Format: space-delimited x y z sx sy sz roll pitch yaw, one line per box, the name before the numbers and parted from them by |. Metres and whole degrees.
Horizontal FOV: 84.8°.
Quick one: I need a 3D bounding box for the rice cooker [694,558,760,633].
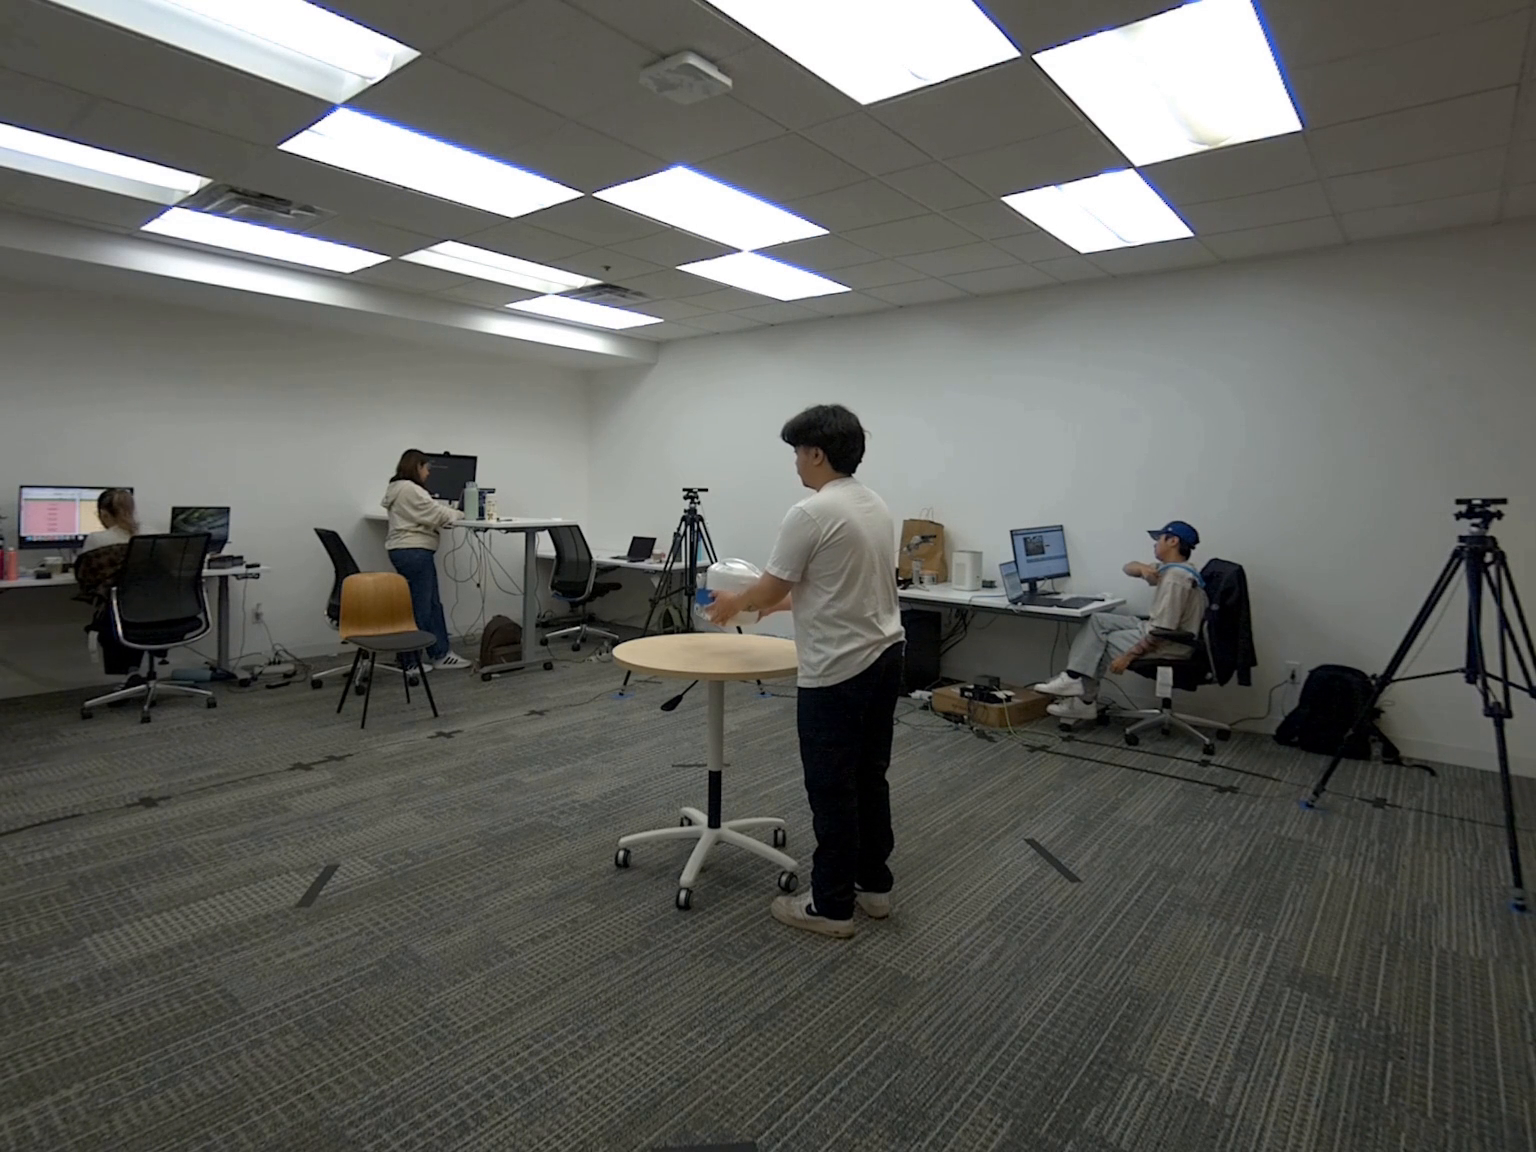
rice cooker | -0.139 0.048 3.105 0.228 0.231 0.211 12 8 33
